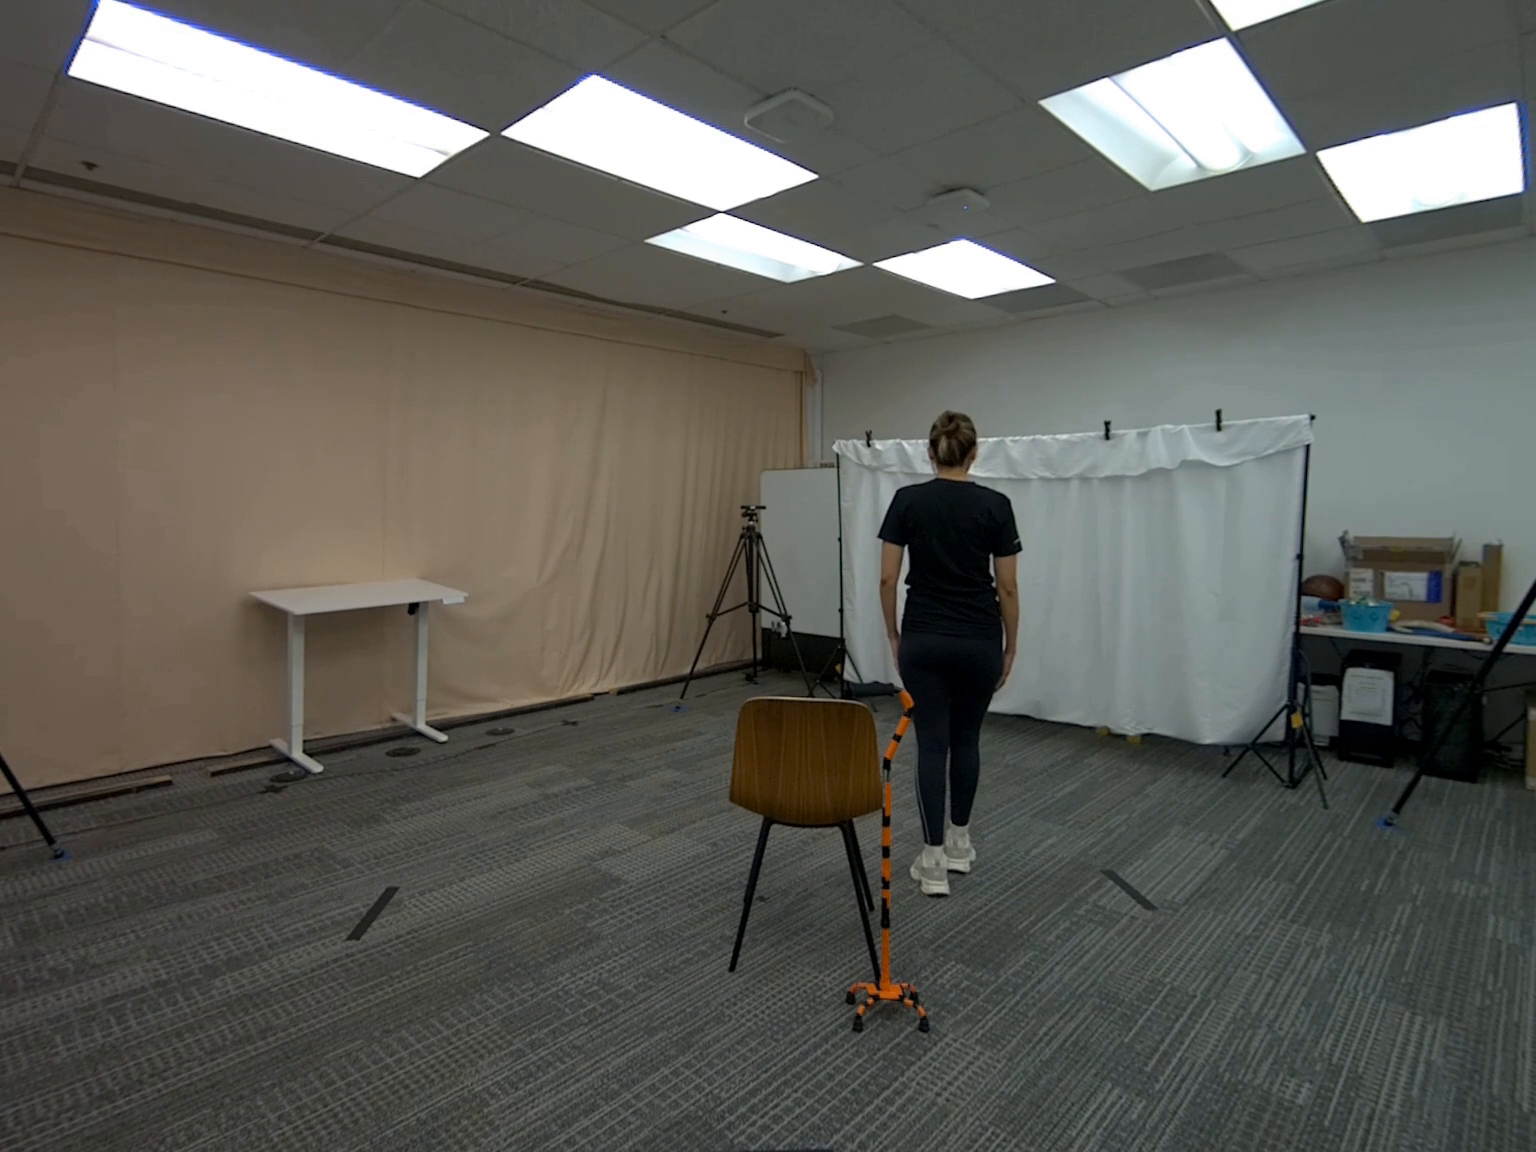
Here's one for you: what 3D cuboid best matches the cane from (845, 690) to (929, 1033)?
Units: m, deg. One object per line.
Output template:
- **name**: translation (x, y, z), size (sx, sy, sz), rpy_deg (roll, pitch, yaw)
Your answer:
- **cane**: translation (0.332, 0.749, 2.279), size (0.206, 0.906, 0.152), rpy_deg (1, 2, -1)
